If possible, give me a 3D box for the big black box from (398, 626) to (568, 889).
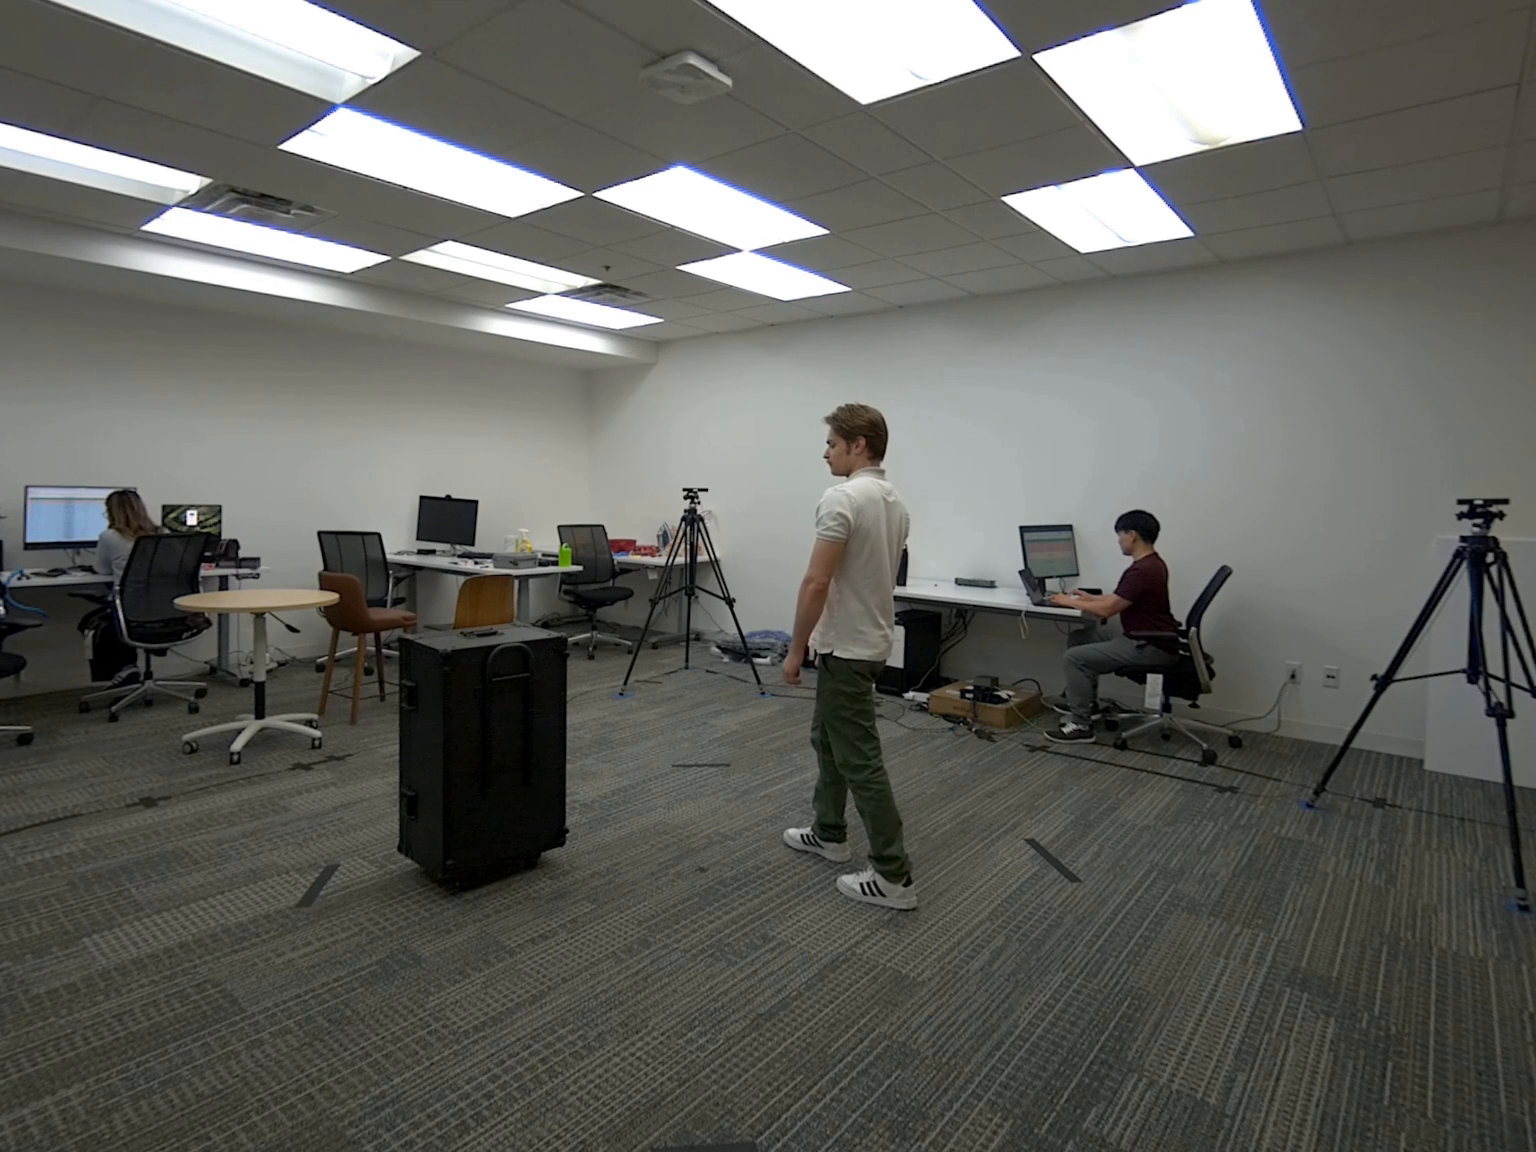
[{"bbox_3d":[-1.035,0.640,3.077,0.398,0.866,0.507,5,5,45],"label":"big black box"}]
